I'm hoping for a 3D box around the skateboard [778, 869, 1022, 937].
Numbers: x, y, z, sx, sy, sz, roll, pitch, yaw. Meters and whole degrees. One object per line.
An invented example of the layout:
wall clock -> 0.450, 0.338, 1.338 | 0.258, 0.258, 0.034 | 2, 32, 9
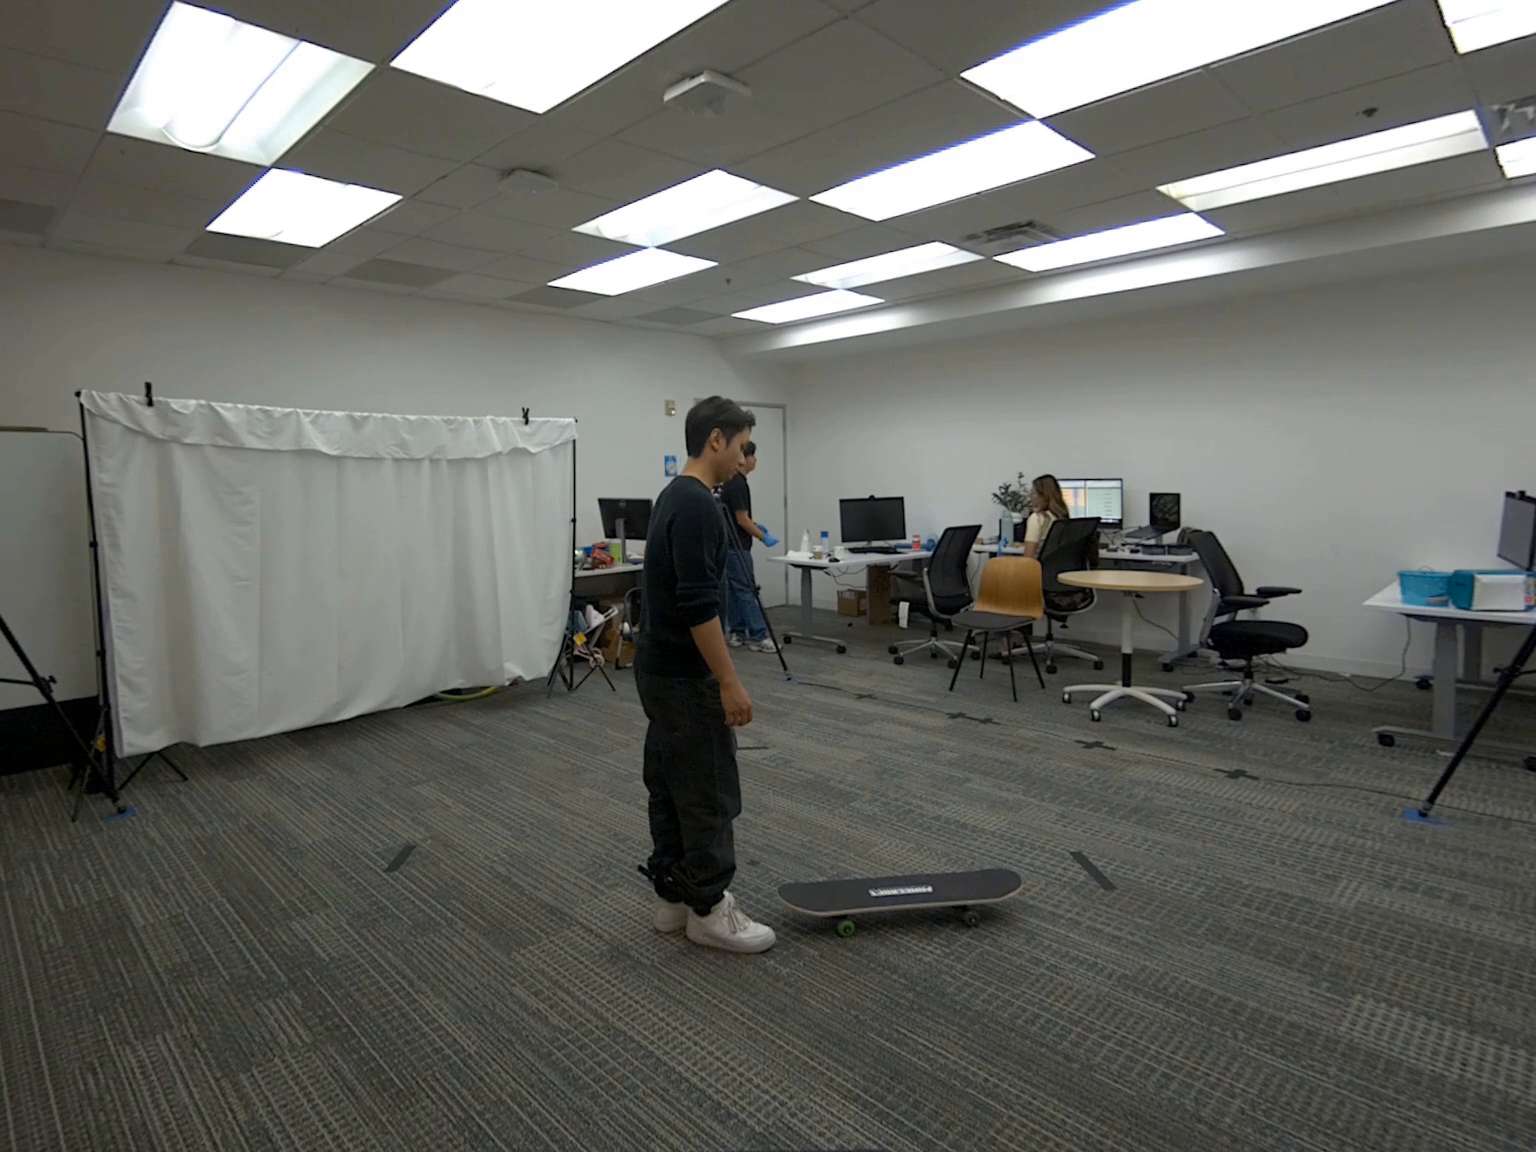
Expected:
skateboard -> 0.420, 1.022, 2.694 | 0.780, 0.110, 0.195 | -2, 5, -7
